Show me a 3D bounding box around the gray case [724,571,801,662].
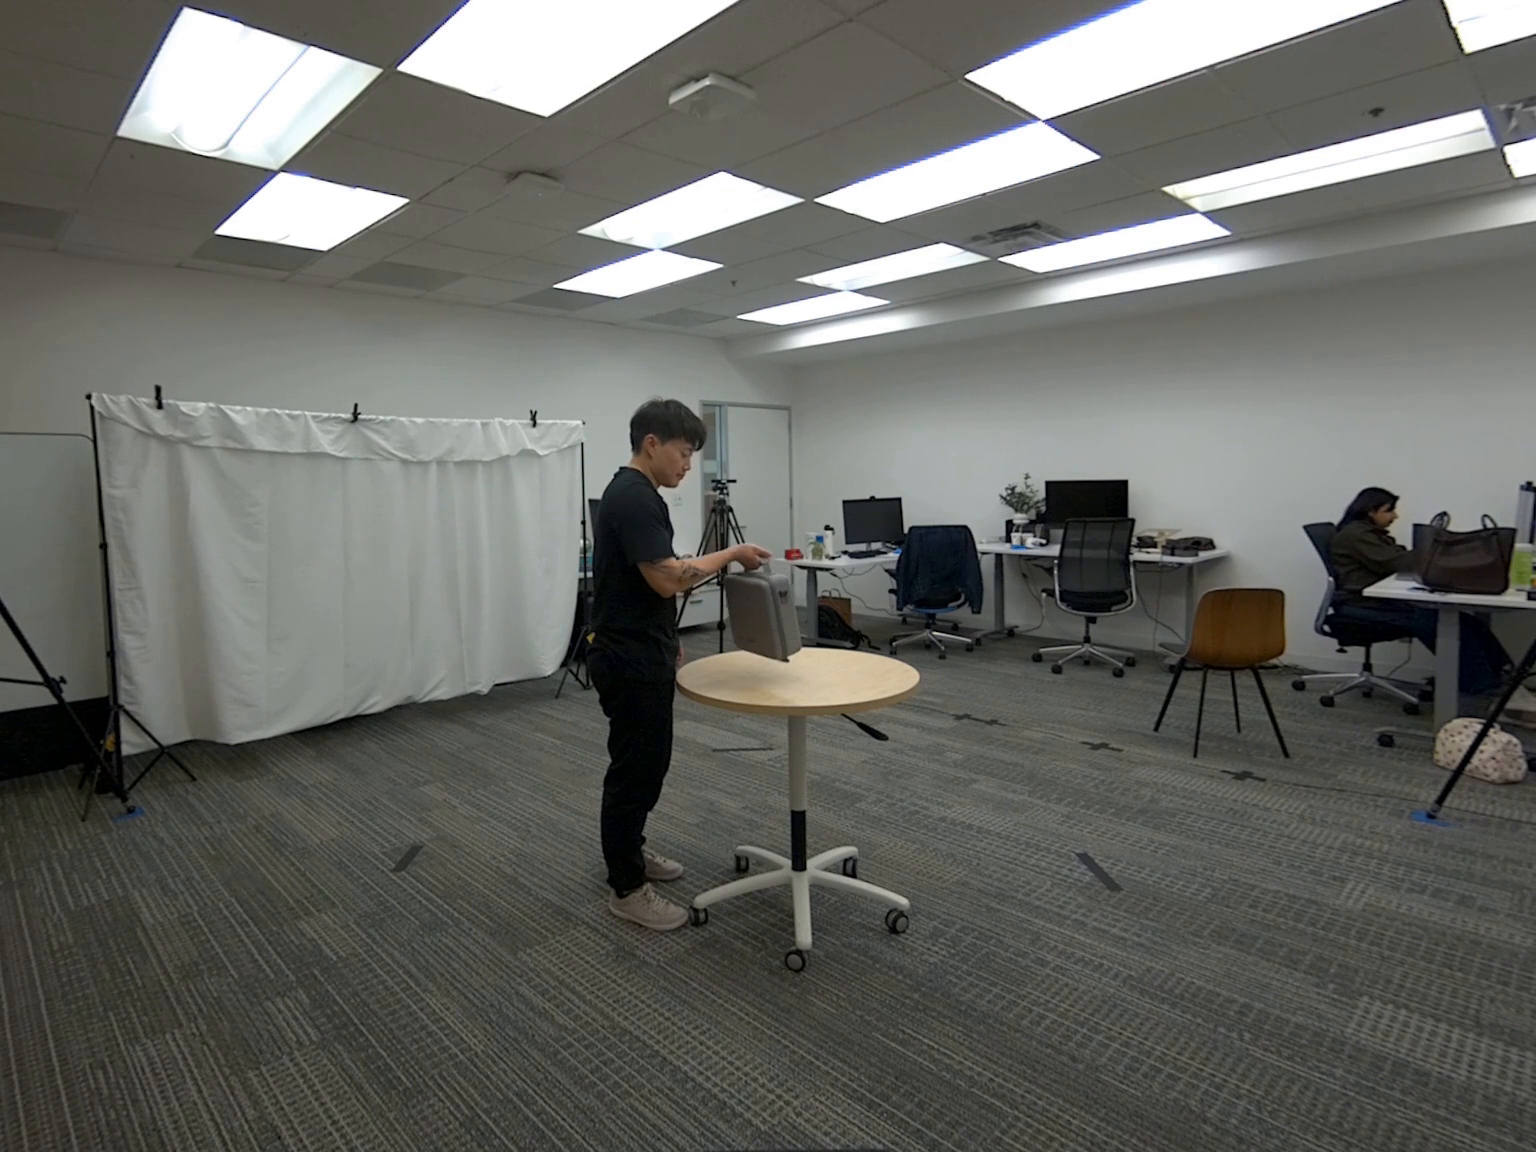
[{"bbox_3d":[-0.023,0.110,2.634,0.102,0.258,0.264,-14,12,-30],"label":"gray case"}]
